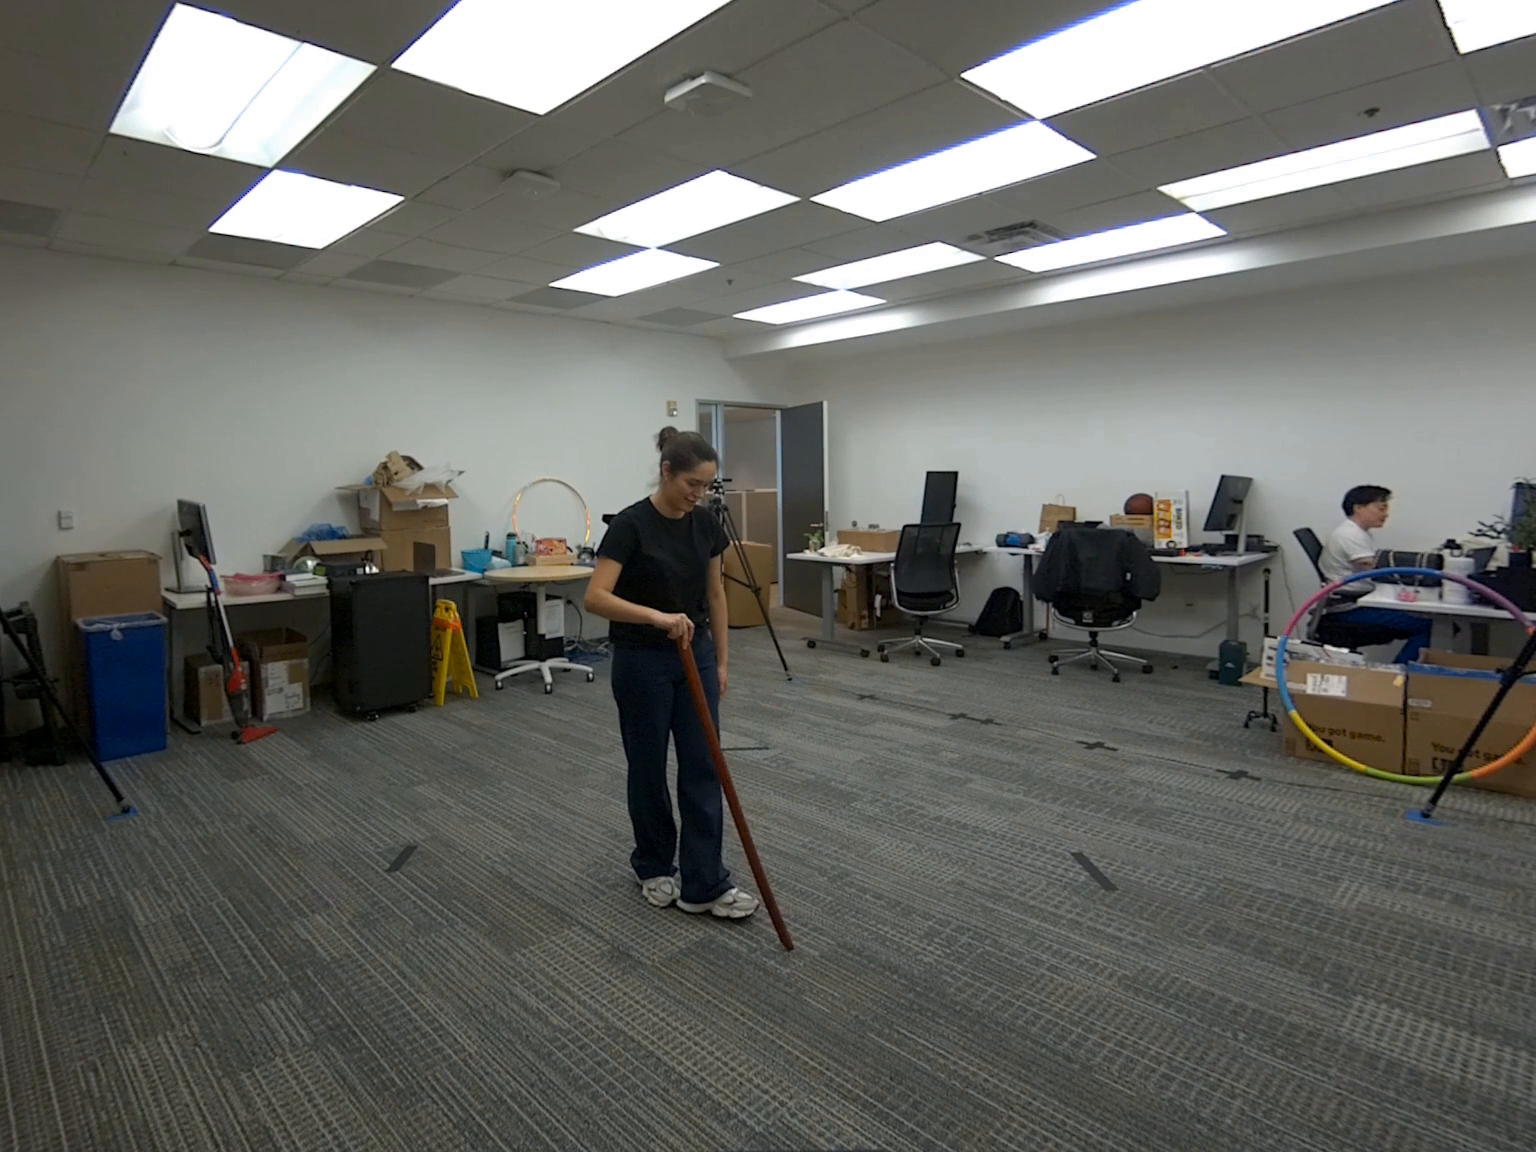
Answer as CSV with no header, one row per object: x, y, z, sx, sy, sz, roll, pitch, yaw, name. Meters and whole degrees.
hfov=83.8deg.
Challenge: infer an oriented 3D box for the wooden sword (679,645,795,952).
-0.107,0.625,2.524,0.024,1.021,0.050,-18,3,32,wooden sword
